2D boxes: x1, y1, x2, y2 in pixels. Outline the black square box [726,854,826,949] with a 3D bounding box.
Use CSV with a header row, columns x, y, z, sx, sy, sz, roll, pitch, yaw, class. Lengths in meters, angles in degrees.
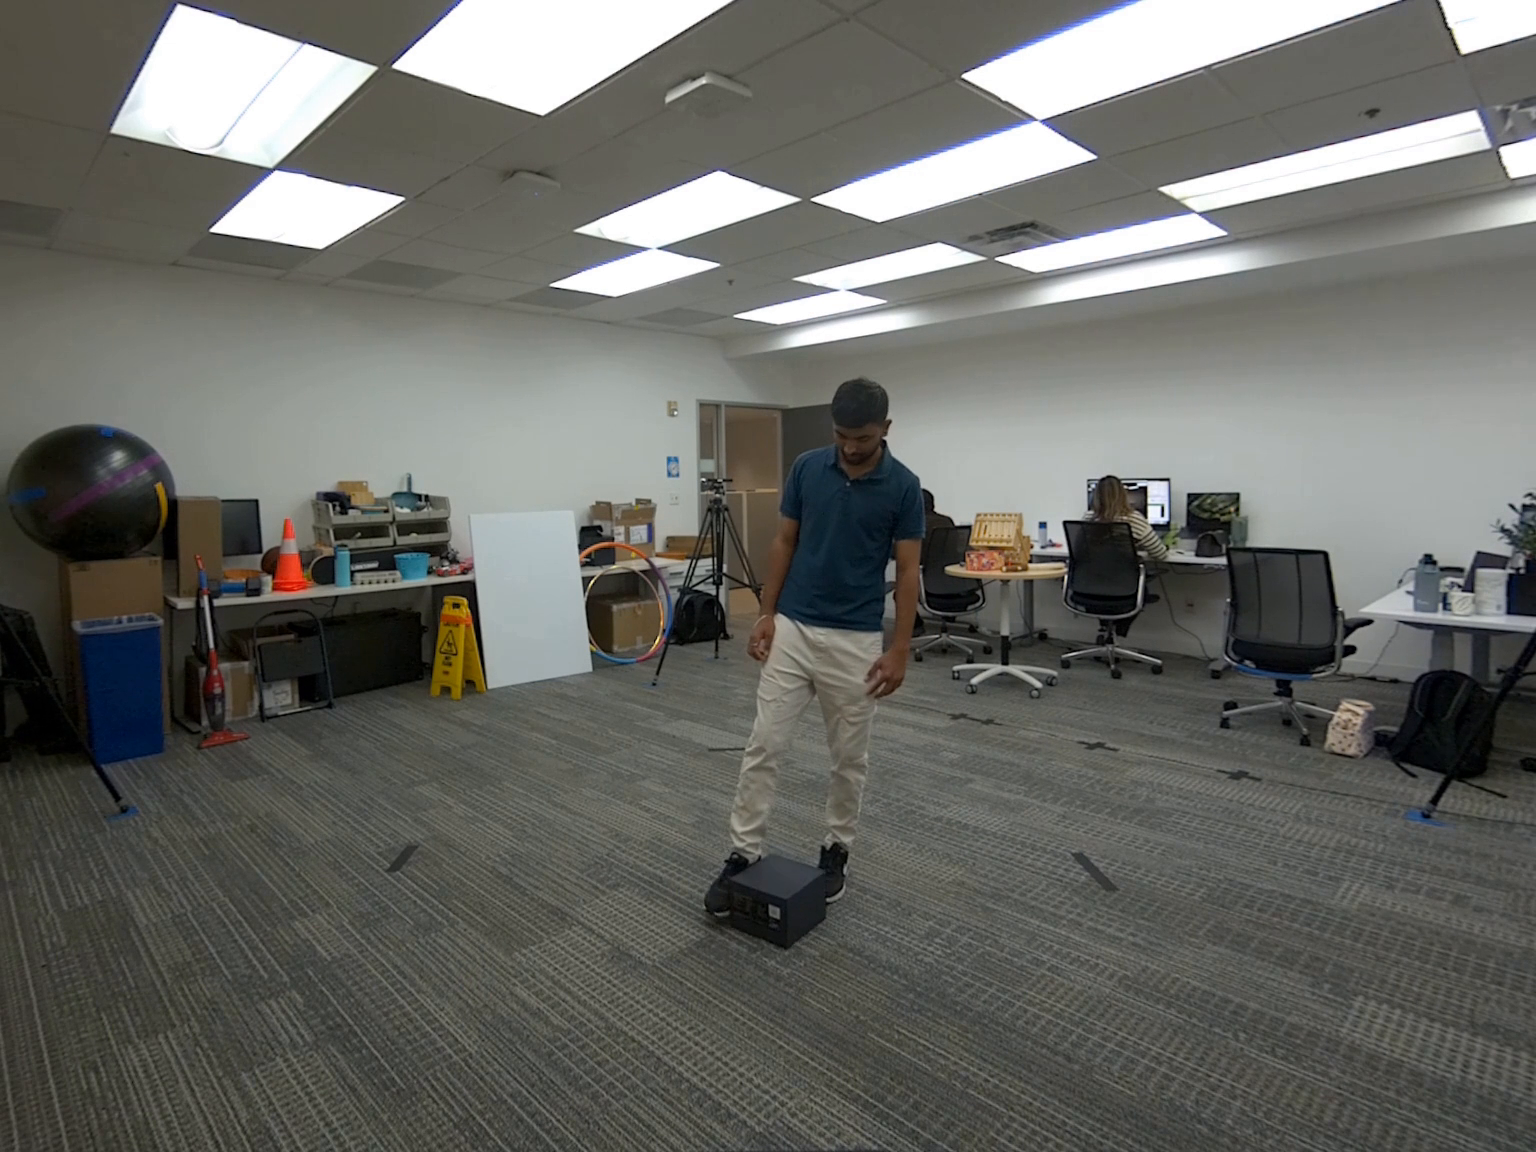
x,y,z,sx,sy,sz,roll,pitch,yaw,class
0.040,1.008,2.679,0.223,0.155,0.222,3,7,36,black square box
